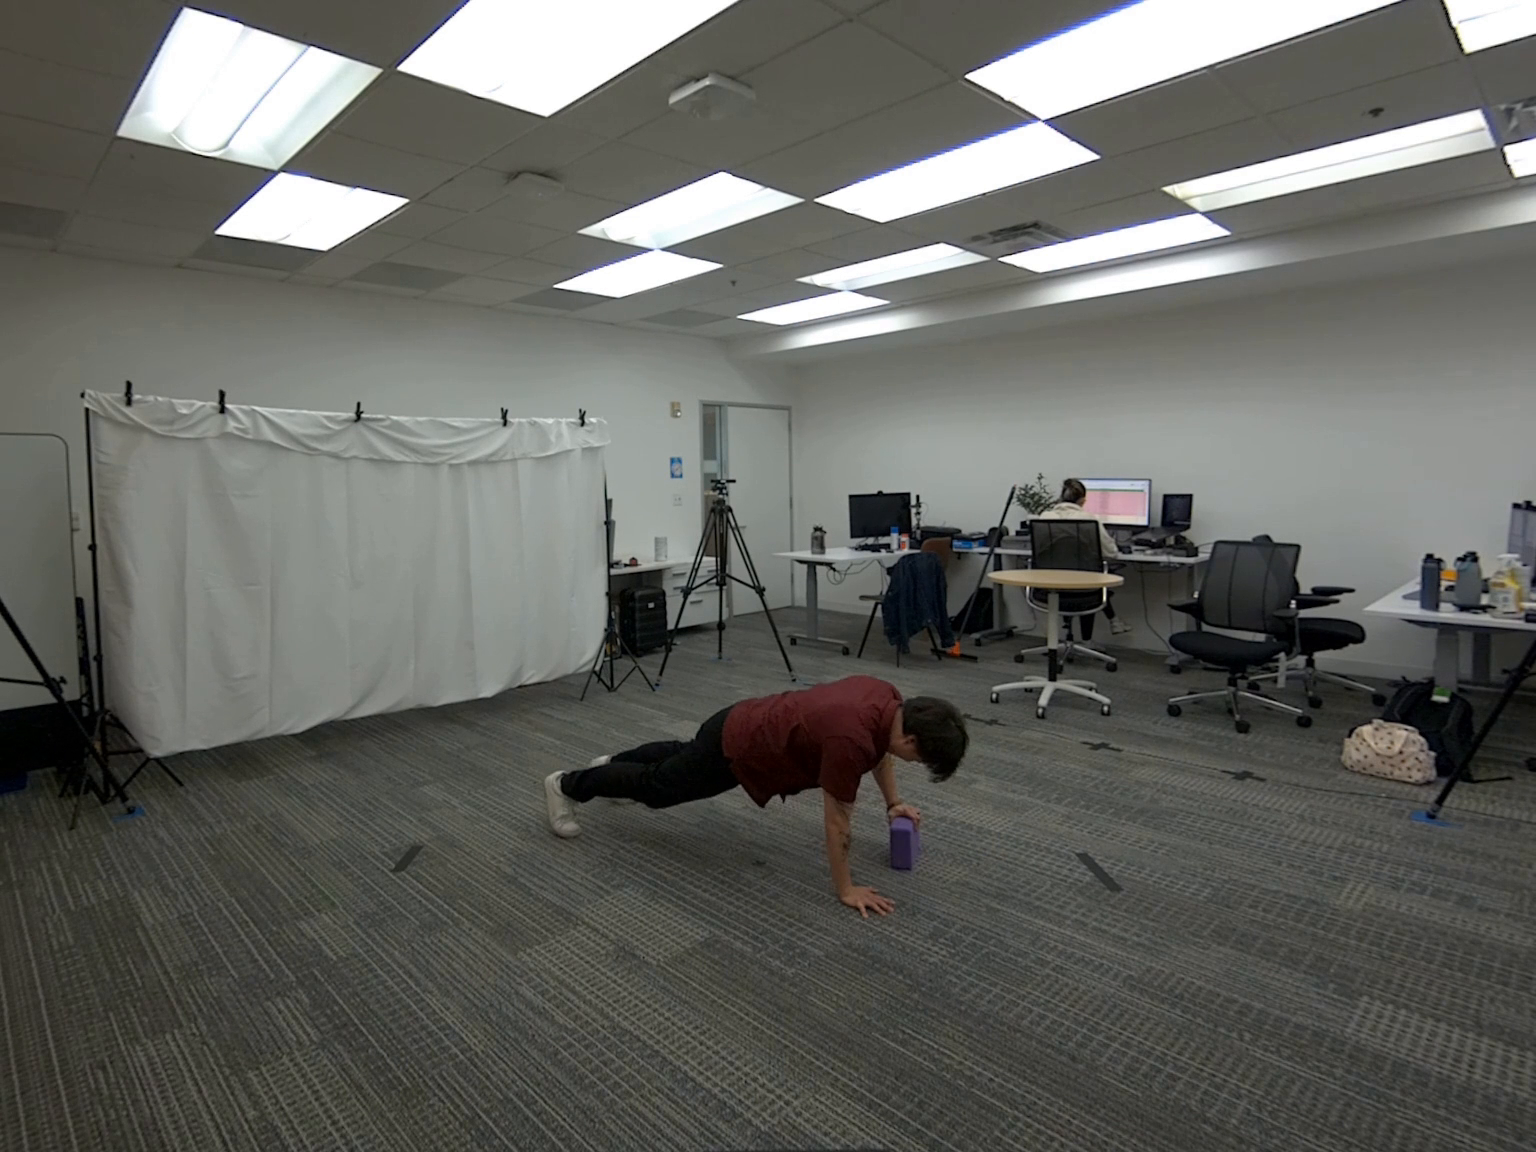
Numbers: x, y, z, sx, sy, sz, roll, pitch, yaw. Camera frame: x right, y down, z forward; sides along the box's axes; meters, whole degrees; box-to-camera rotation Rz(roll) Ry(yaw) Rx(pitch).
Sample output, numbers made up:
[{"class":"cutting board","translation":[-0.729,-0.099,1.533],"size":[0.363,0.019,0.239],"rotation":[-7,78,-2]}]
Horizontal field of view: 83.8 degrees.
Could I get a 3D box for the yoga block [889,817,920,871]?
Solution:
[{"class":"yoga block","translation":[0.498,0.950,3.140],"size":[0.078,0.148,0.226],"rotation":[-1,5,17]}]
